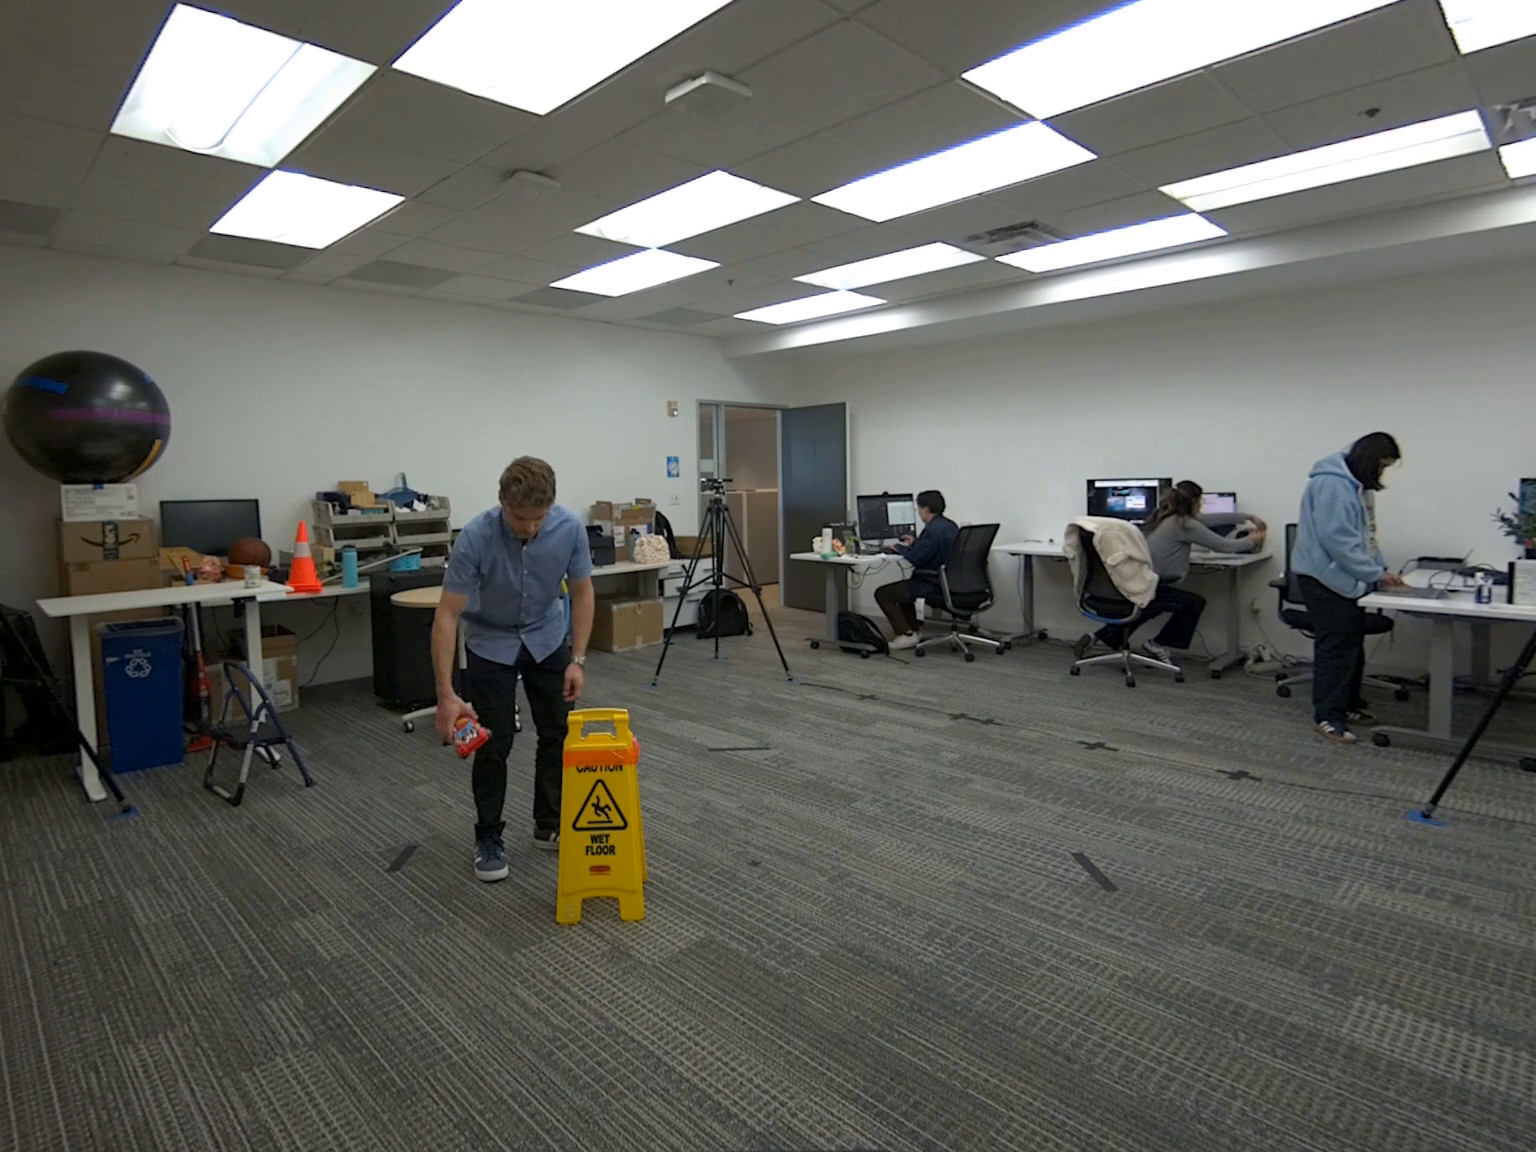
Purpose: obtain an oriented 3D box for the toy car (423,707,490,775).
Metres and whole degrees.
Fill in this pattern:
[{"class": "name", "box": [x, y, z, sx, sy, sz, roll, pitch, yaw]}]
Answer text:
[{"class": "toy car", "box": [-1.037, 0.525, 2.882, 0.130, 0.080, 0.265, -39, 45, -19]}]
